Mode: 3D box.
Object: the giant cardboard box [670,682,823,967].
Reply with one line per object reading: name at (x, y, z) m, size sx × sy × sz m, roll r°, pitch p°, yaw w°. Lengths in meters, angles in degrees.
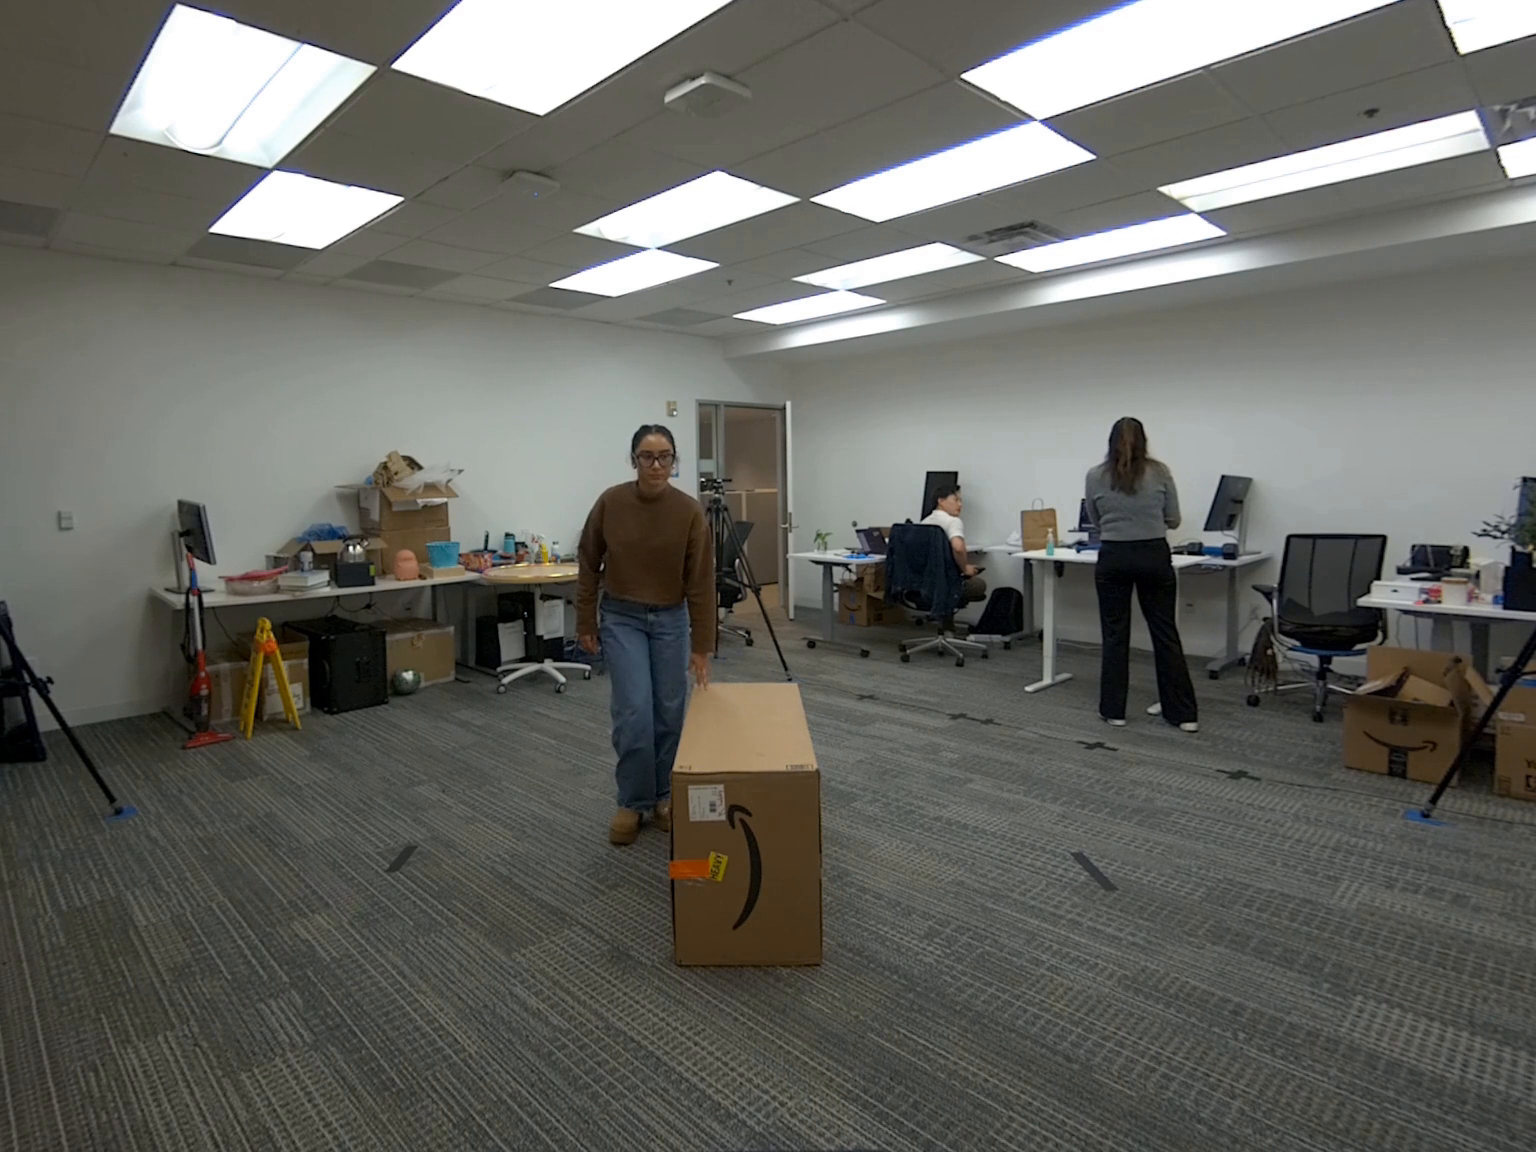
giant cardboard box at (-0.067, 0.779, 2.931) m, size 0.447 × 0.581 × 1.030 m, roll 0°, pitch 5°, yaw 0°
